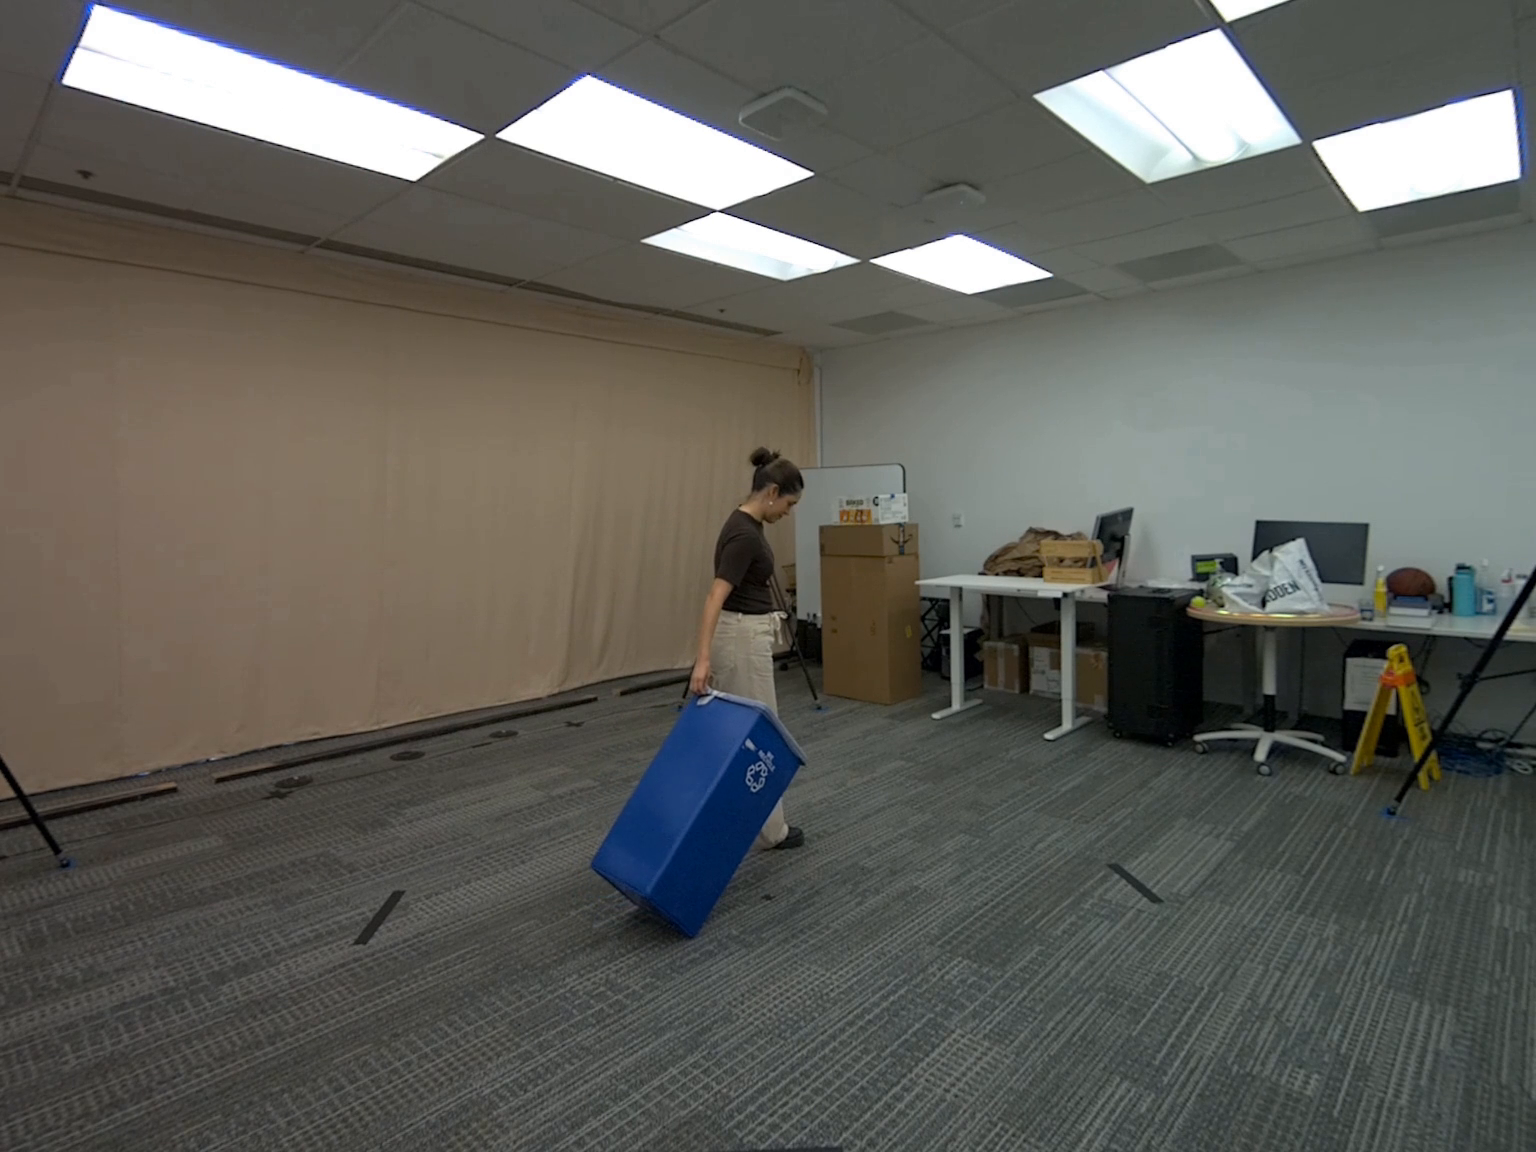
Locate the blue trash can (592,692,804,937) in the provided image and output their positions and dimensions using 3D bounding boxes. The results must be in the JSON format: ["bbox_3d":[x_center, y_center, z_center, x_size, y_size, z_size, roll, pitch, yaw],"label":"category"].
[{"bbox_3d":[-0.233,0.796,2.899,0.391,0.712,0.362,7,-36,43],"label":"blue trash can"}]
